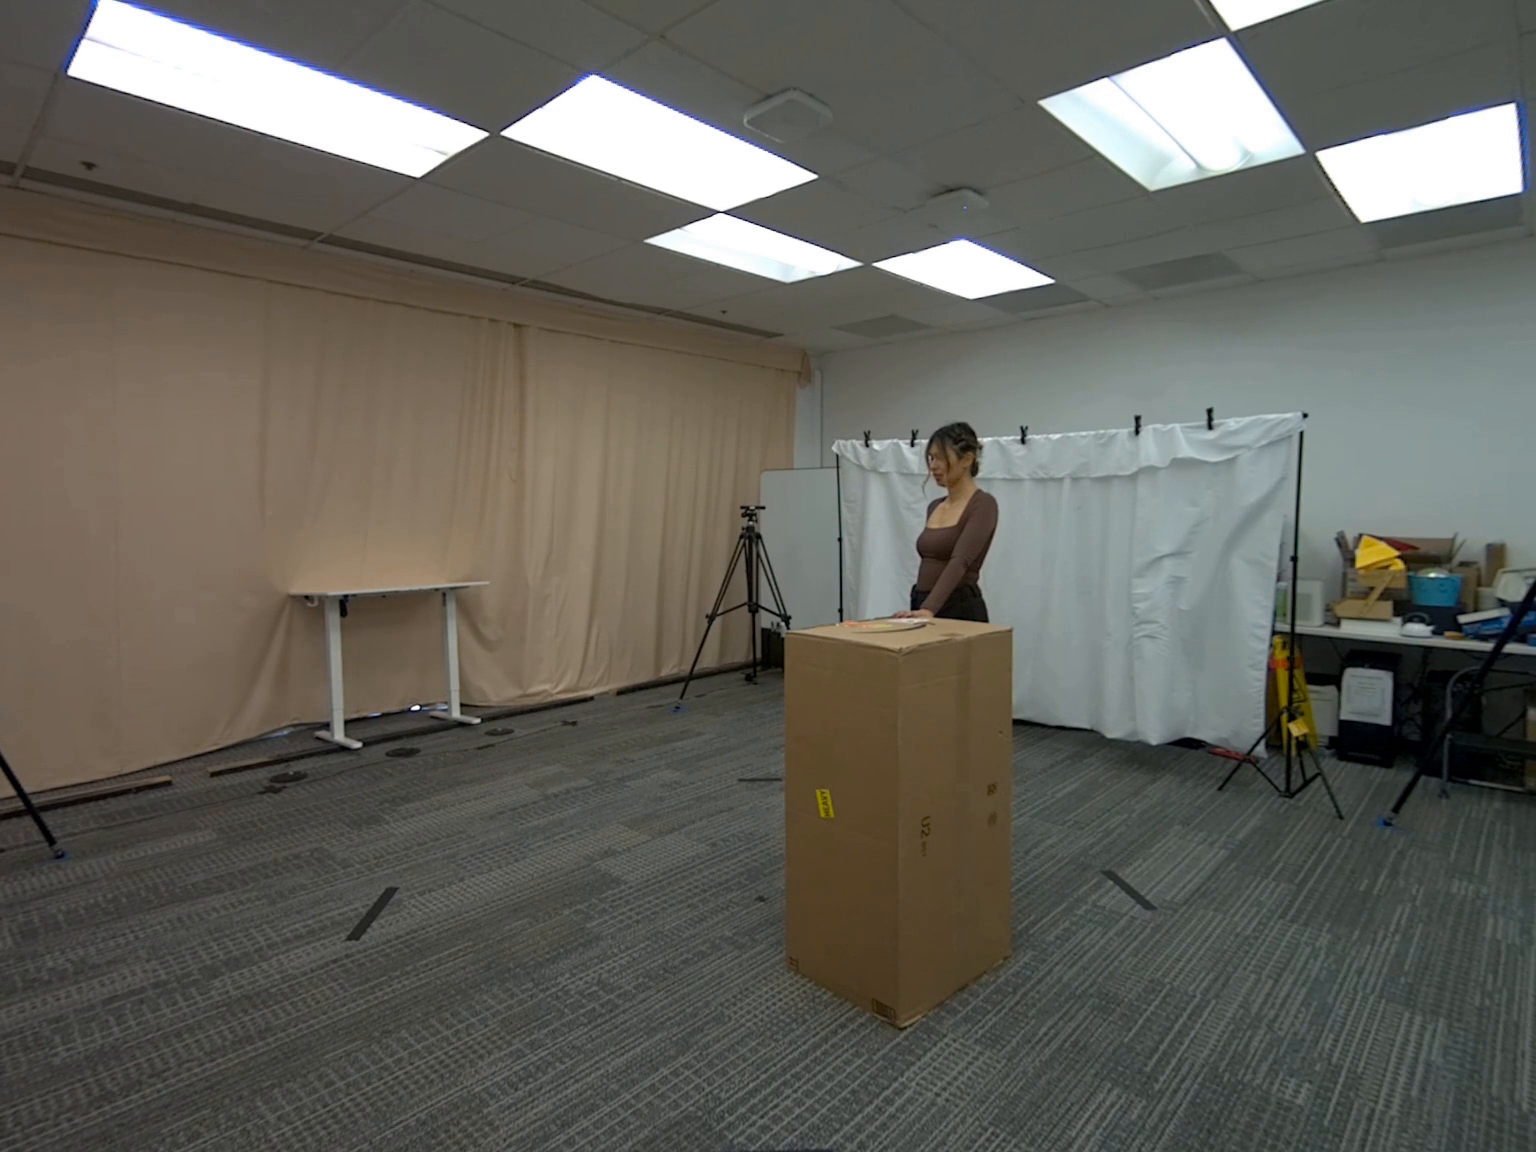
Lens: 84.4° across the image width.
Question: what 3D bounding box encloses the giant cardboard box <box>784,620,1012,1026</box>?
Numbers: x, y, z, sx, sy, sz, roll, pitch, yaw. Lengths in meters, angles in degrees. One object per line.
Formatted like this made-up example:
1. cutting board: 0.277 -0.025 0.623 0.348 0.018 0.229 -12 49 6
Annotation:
1. giant cardboard box: 0.404 0.670 2.553 0.566 1.025 0.461 -3 3 -41
